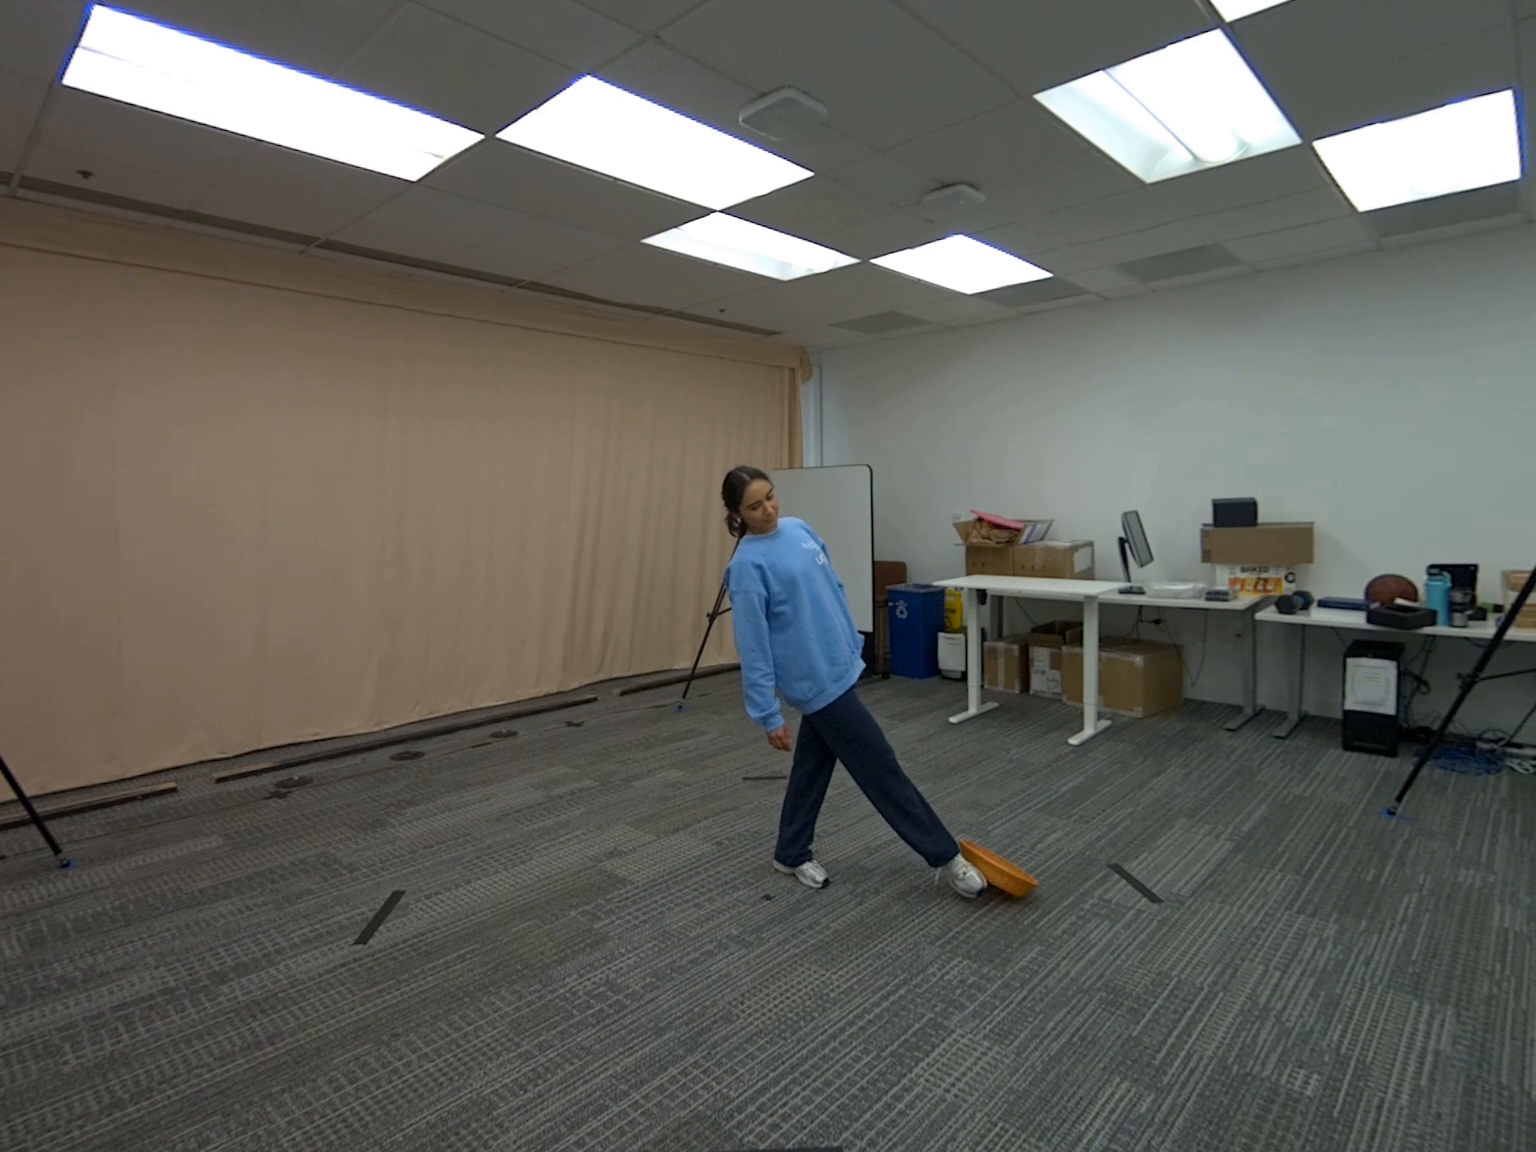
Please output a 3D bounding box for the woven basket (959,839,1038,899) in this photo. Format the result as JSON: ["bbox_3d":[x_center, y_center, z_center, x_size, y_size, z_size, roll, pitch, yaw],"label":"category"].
[{"bbox_3d":[0.812,1.053,3.008,0.249,0.073,0.355,26,-3,-11],"label":"woven basket"}]
